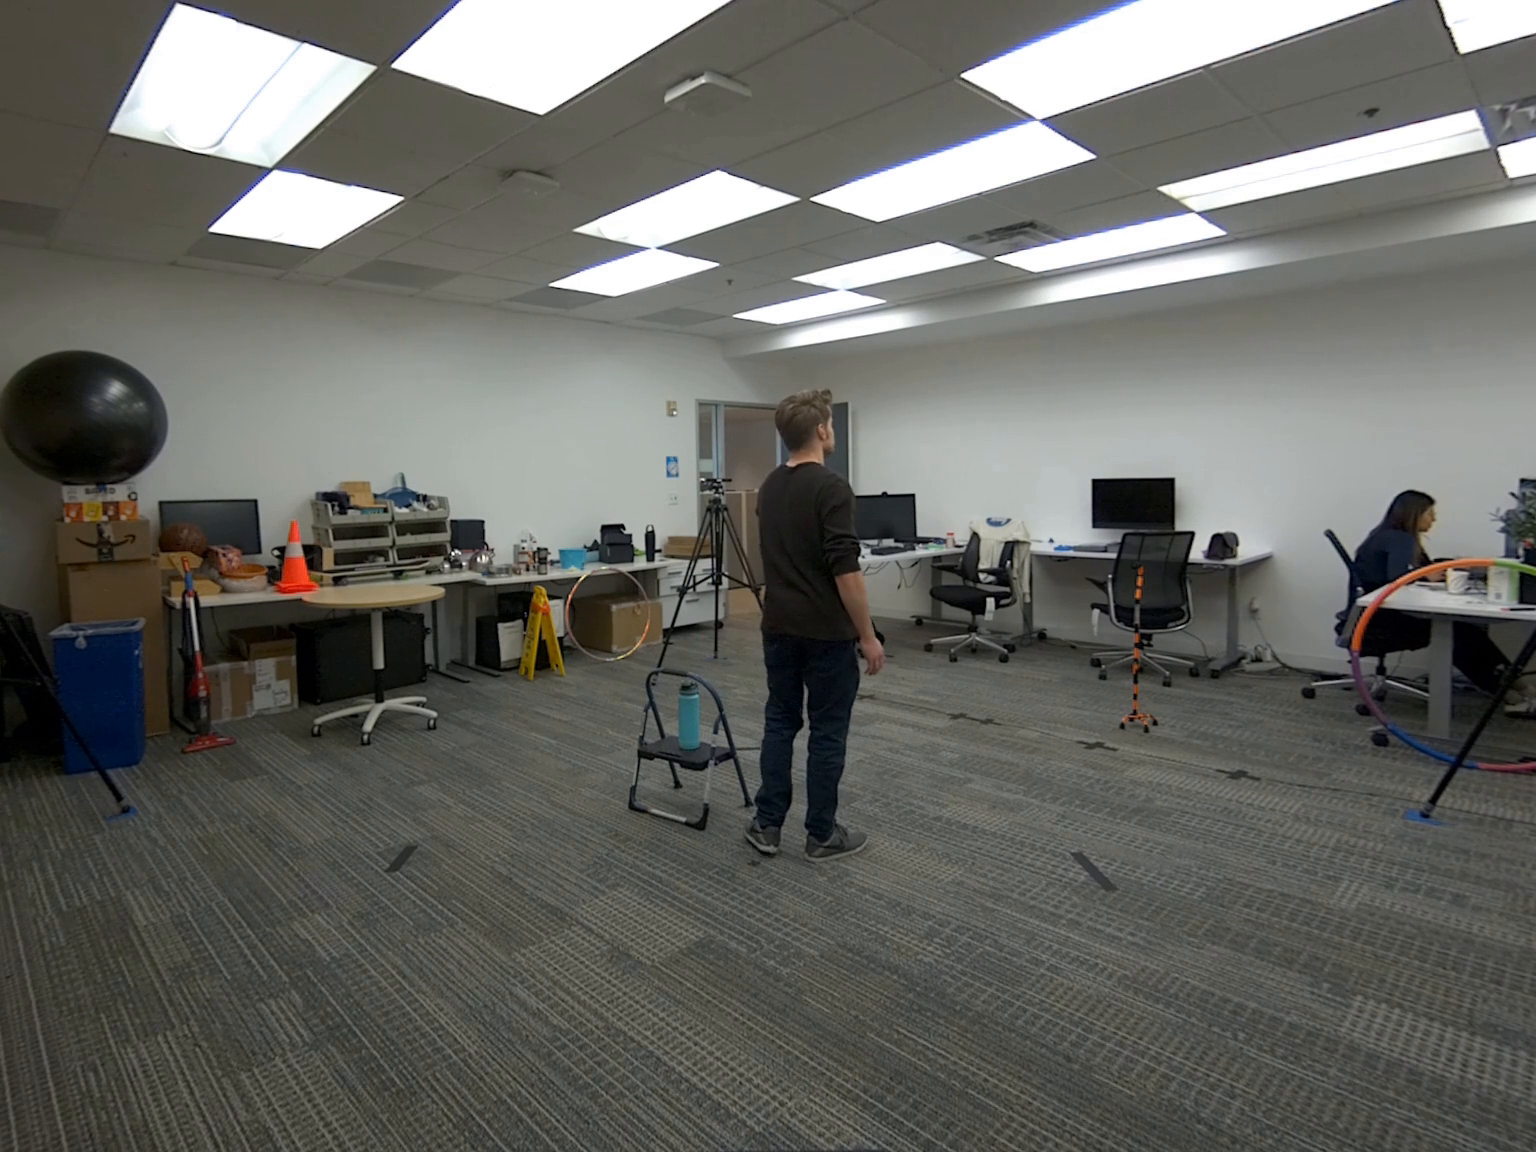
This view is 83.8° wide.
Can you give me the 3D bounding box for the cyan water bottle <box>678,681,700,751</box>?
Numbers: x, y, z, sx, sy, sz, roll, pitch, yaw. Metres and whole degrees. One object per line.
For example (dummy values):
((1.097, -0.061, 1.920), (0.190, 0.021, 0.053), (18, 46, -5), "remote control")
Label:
((-0.340, 0.586, 3.643), (0.092, 0.283, 0.092), (-1, 2, -2), "cyan water bottle")
